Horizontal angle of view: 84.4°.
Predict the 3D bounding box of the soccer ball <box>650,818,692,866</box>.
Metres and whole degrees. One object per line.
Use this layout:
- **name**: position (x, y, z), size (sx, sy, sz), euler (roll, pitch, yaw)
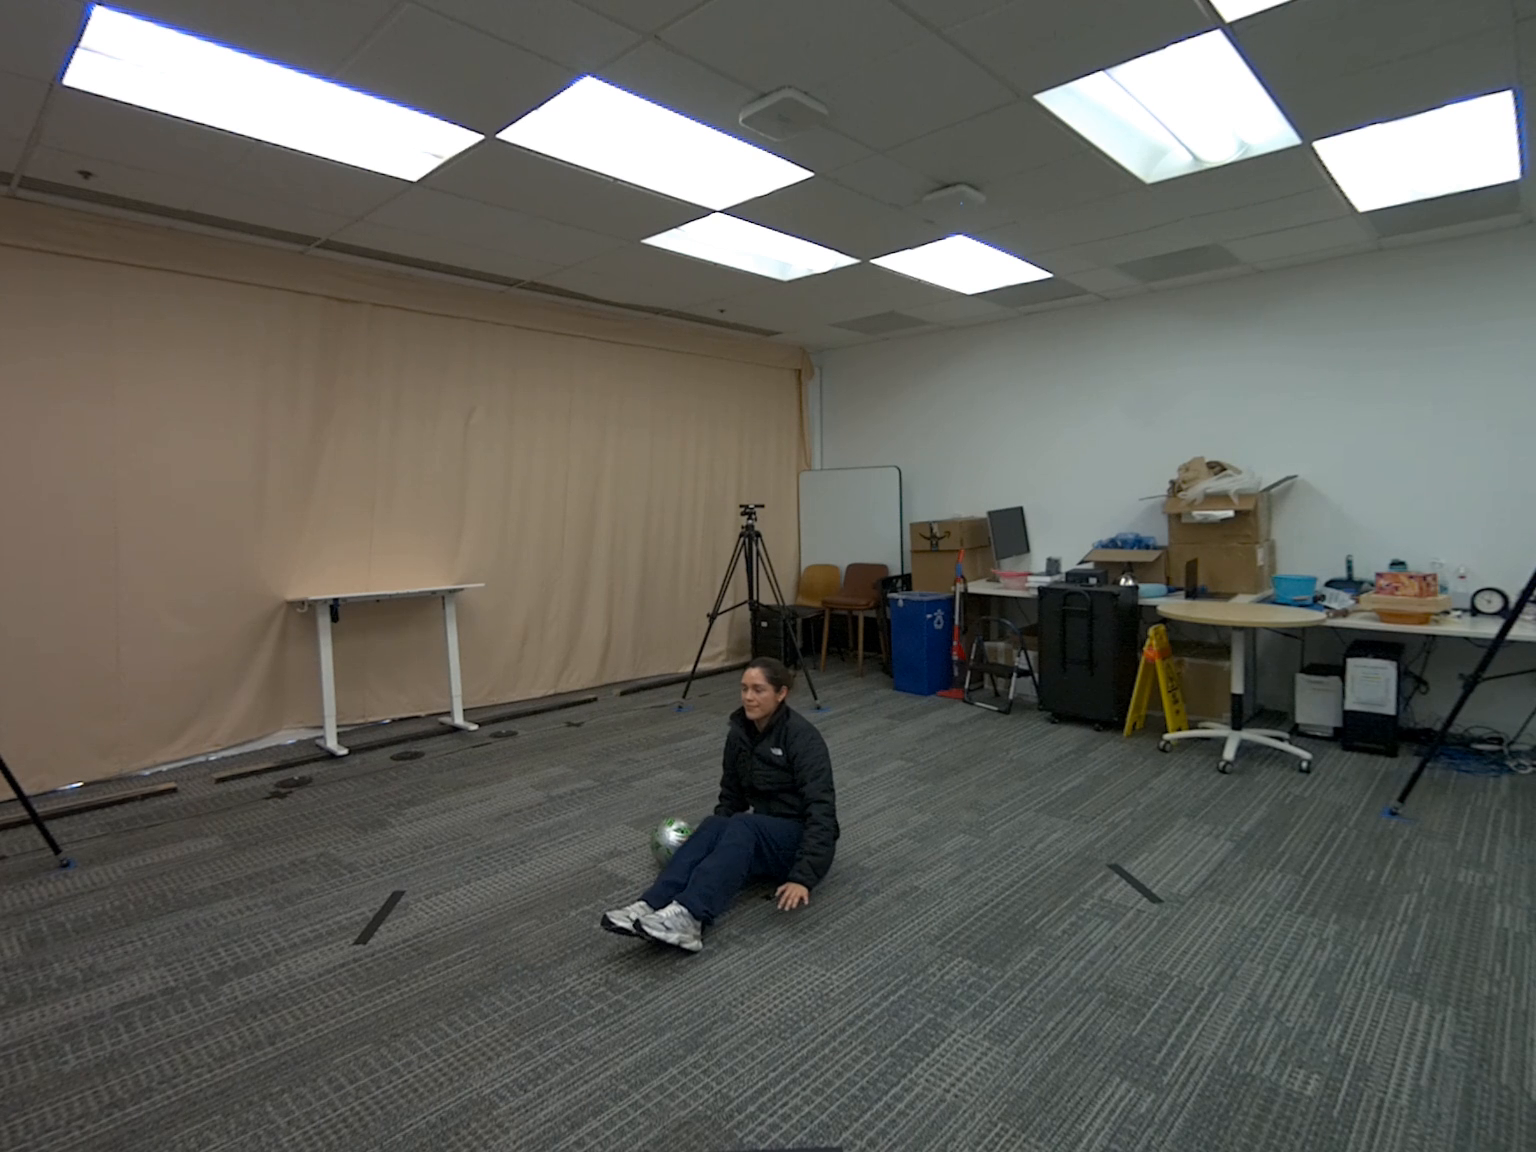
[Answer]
- **soccer ball**: position (-0.359, 1.031, 3.257), size (0.187, 0.187, 0.188), euler (-1, 4, -2)
